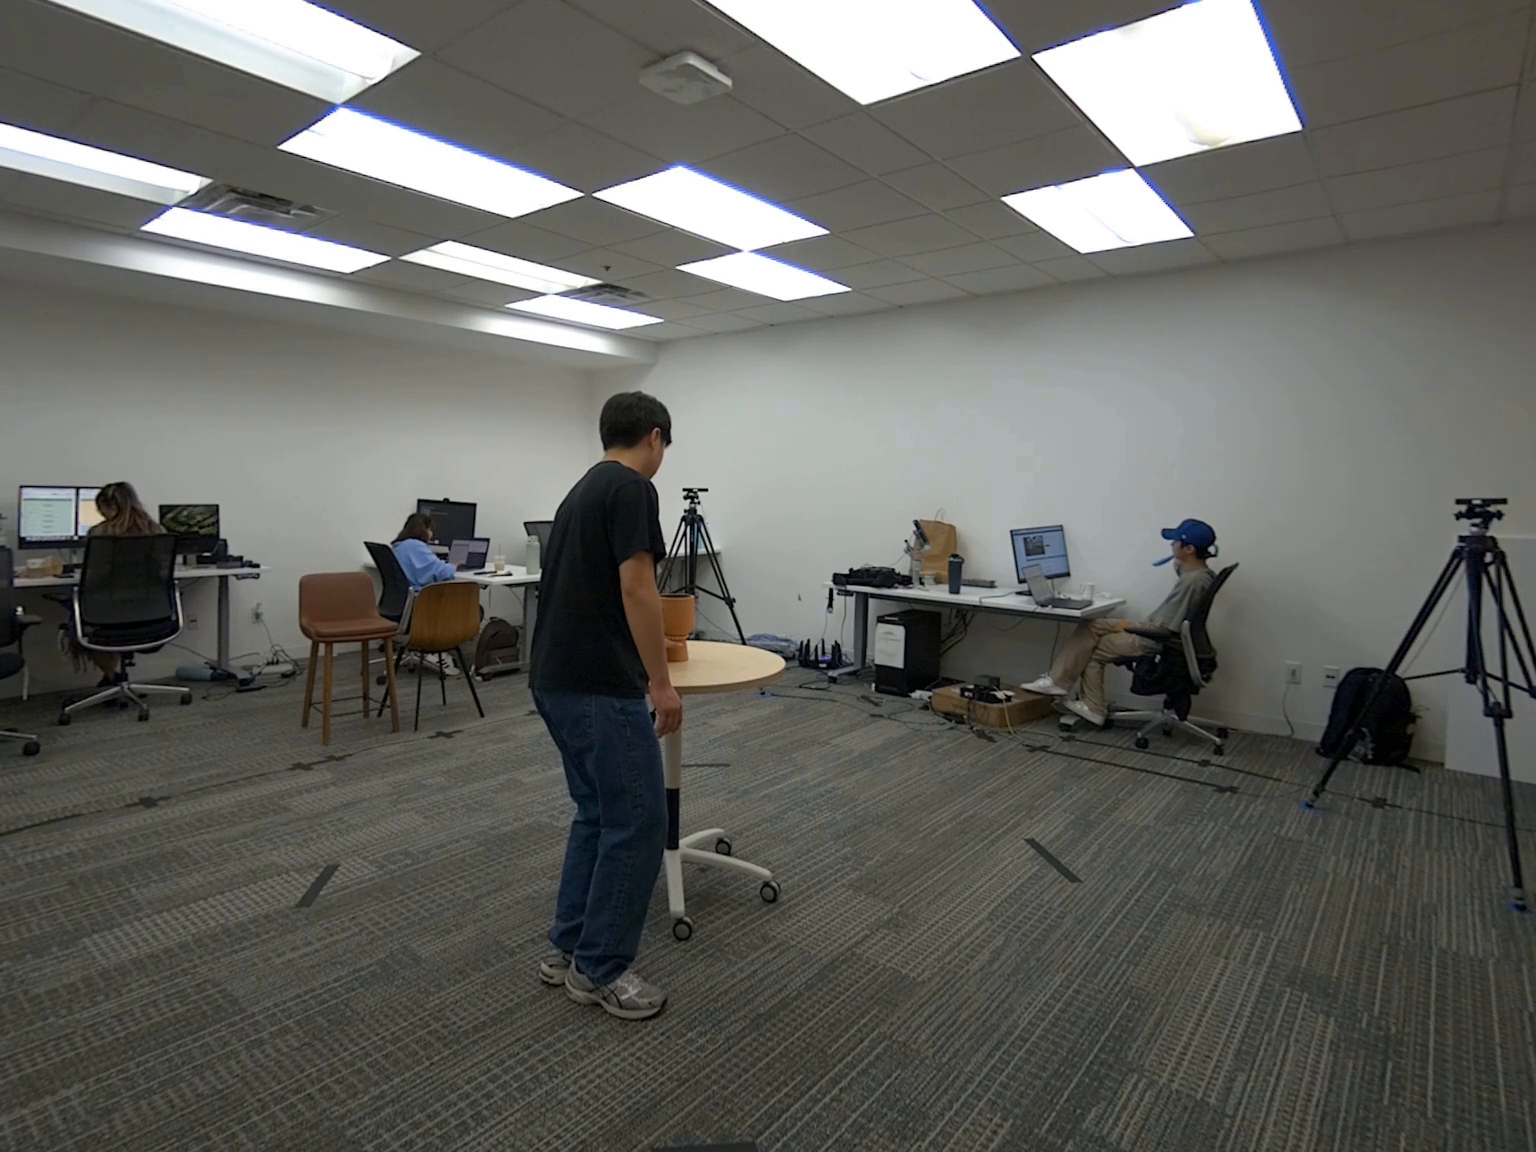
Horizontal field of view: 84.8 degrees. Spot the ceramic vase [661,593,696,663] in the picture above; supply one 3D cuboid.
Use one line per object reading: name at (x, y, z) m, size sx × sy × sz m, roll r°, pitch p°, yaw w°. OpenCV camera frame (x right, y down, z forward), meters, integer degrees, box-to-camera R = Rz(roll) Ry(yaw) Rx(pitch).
ceramic vase at (-0.331, 0.180, 2.942) m, size 0.157 × 0.219 × 0.136 m, roll 0°, pitch 2°, yaw -13°
